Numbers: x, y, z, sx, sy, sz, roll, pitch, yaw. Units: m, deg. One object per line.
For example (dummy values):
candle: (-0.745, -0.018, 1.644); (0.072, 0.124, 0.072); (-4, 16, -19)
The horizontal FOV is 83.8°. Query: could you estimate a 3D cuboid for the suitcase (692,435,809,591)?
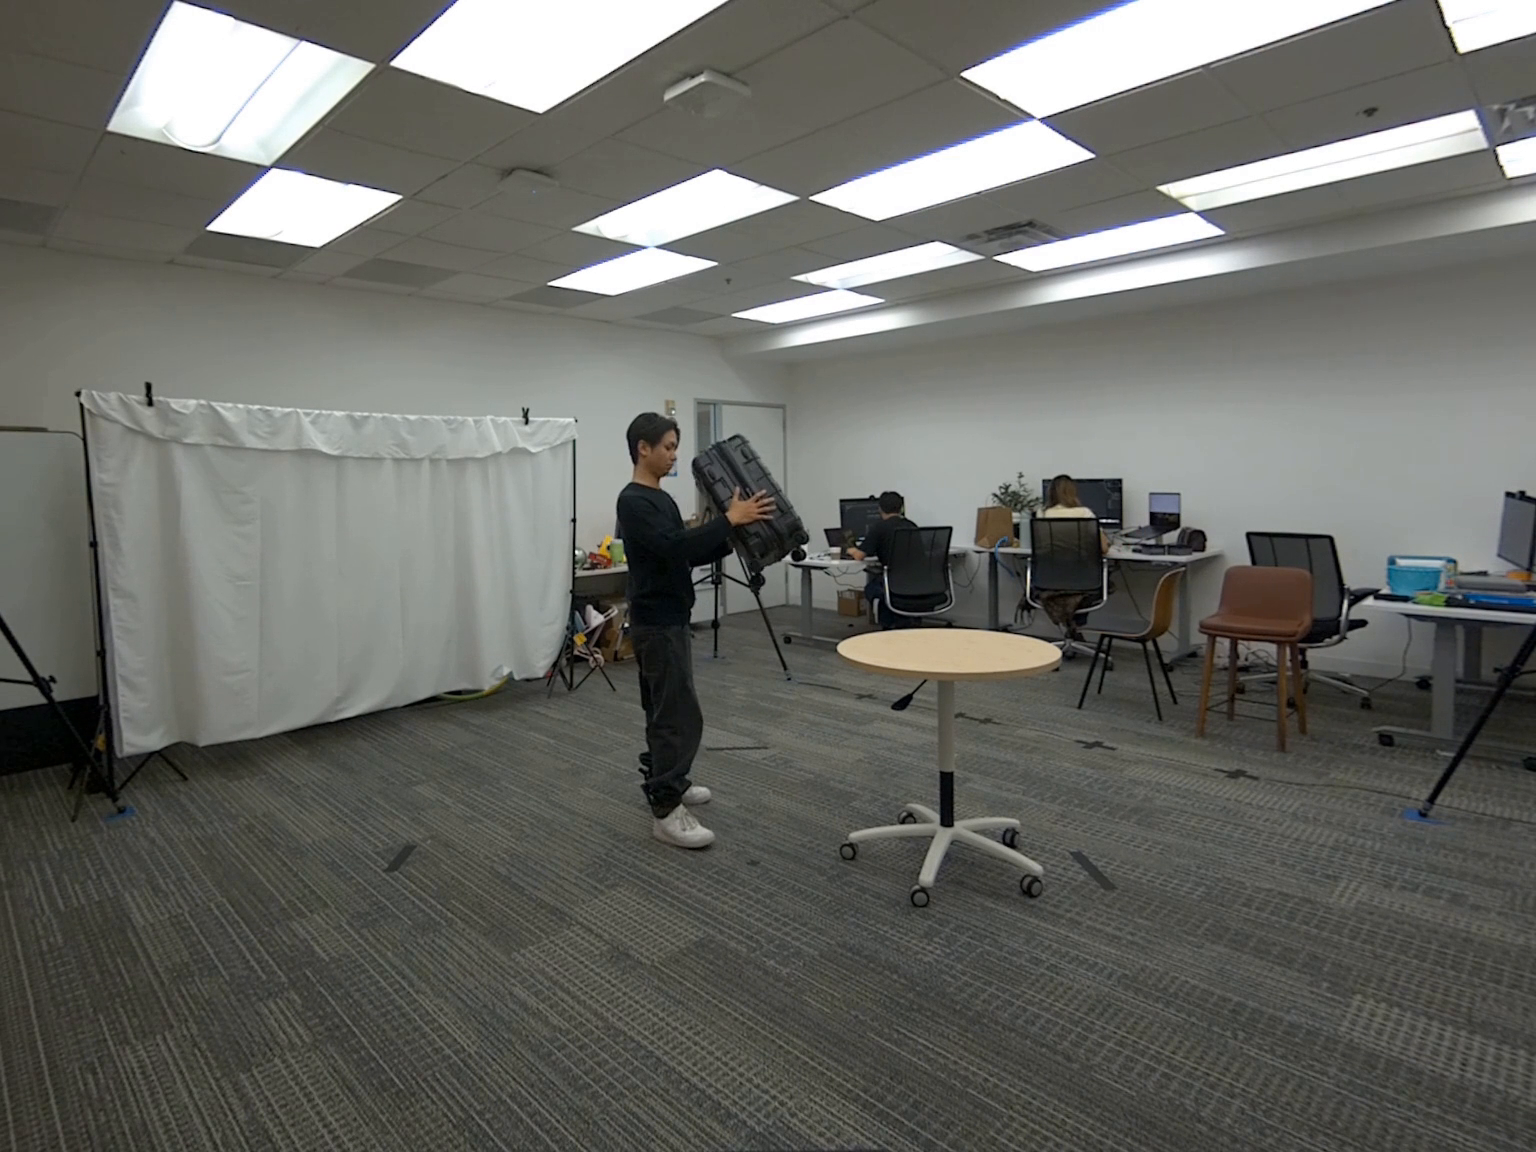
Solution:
suitcase: (-0.088, -0.284, 3.456); (0.248, 0.559, 0.369); (-31, -13, -6)
